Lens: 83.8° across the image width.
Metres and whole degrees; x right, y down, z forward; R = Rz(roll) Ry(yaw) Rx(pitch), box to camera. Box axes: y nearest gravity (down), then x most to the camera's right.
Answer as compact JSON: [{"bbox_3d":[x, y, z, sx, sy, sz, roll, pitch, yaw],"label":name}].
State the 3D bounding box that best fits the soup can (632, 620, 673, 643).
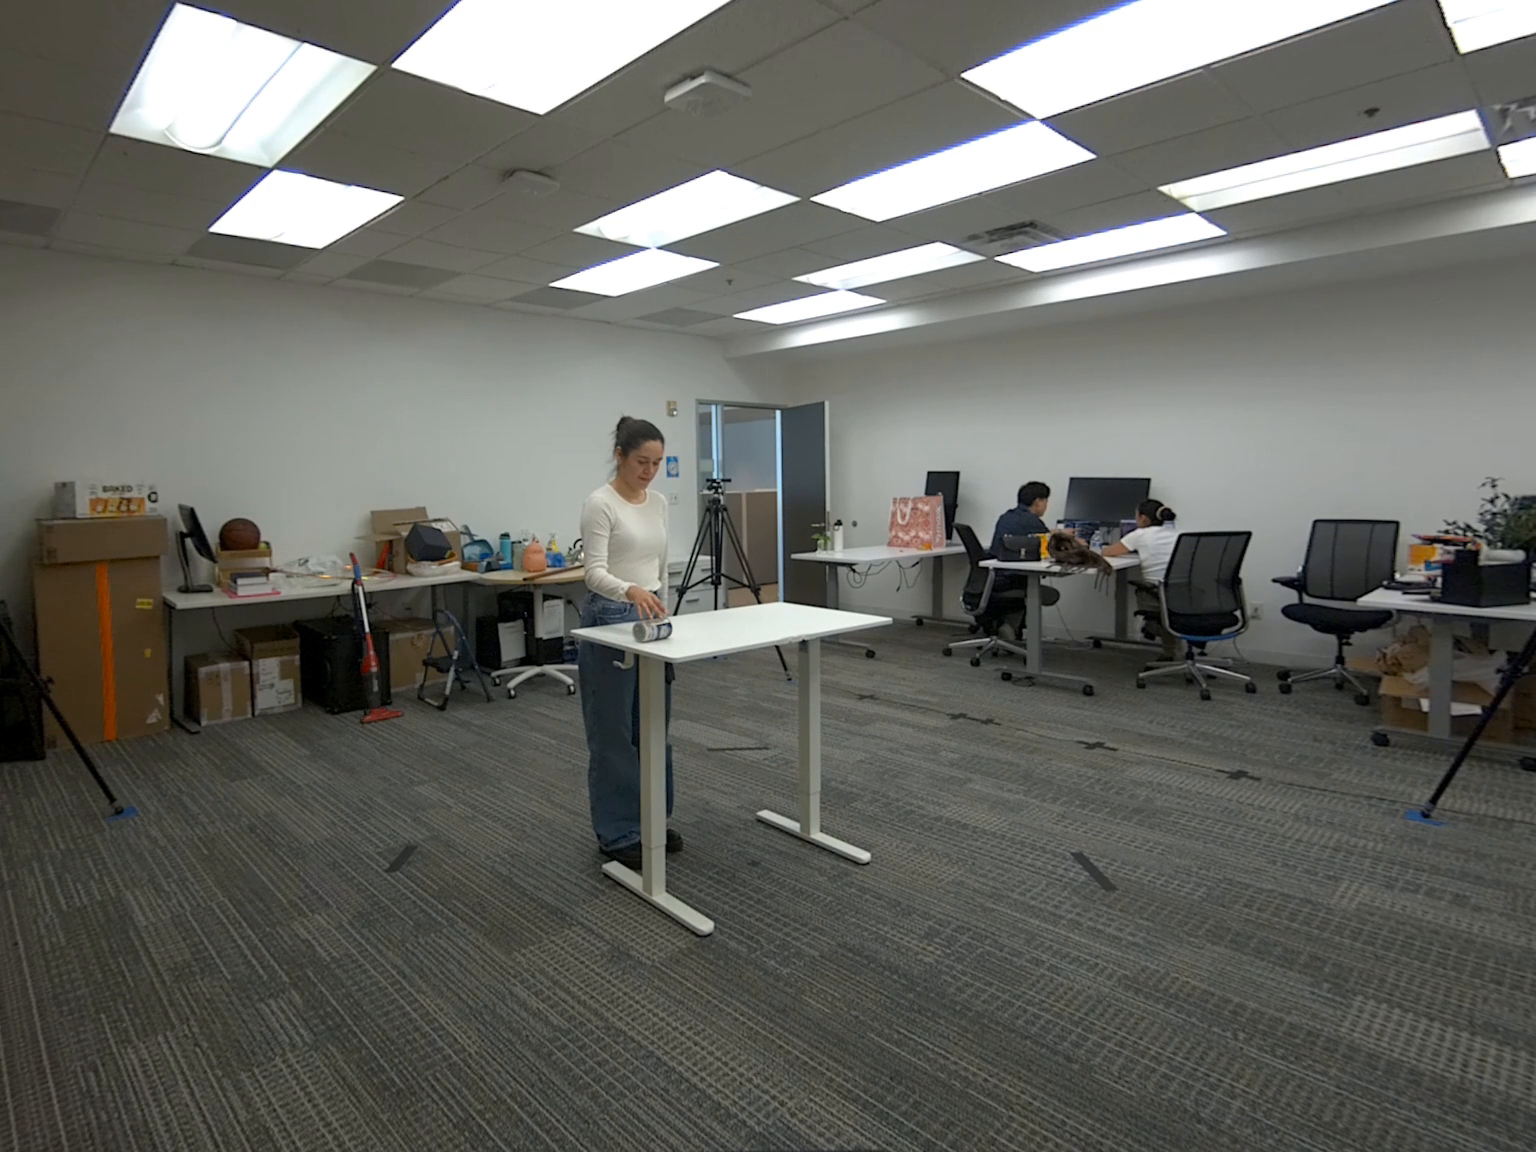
[{"bbox_3d":[-0.370,0.173,2.741,0.069,0.067,0.118,3,7,40],"label":"soup can"}]
